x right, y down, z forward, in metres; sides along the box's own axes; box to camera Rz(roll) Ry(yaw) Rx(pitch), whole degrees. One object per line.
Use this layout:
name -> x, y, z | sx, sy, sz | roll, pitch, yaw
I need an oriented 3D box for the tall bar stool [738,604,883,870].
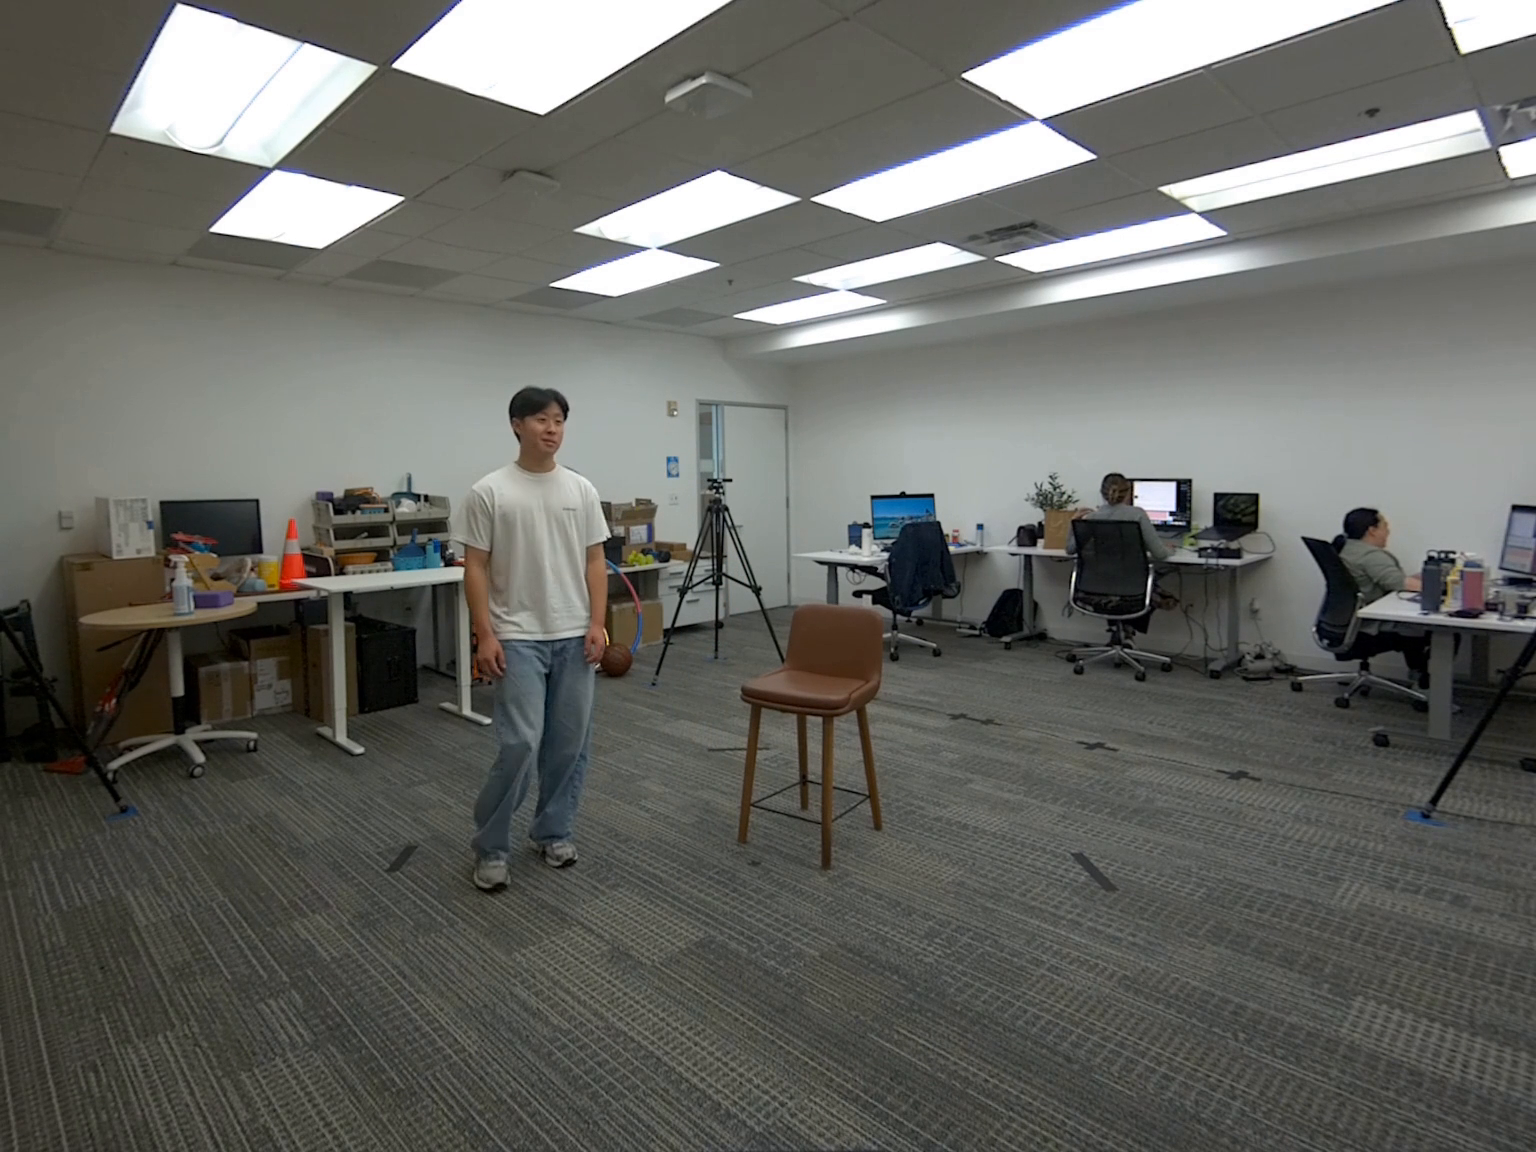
tall bar stool -> 0.174, 0.581, 3.318 | 0.470, 0.888, 0.455 | 2, 3, 37
